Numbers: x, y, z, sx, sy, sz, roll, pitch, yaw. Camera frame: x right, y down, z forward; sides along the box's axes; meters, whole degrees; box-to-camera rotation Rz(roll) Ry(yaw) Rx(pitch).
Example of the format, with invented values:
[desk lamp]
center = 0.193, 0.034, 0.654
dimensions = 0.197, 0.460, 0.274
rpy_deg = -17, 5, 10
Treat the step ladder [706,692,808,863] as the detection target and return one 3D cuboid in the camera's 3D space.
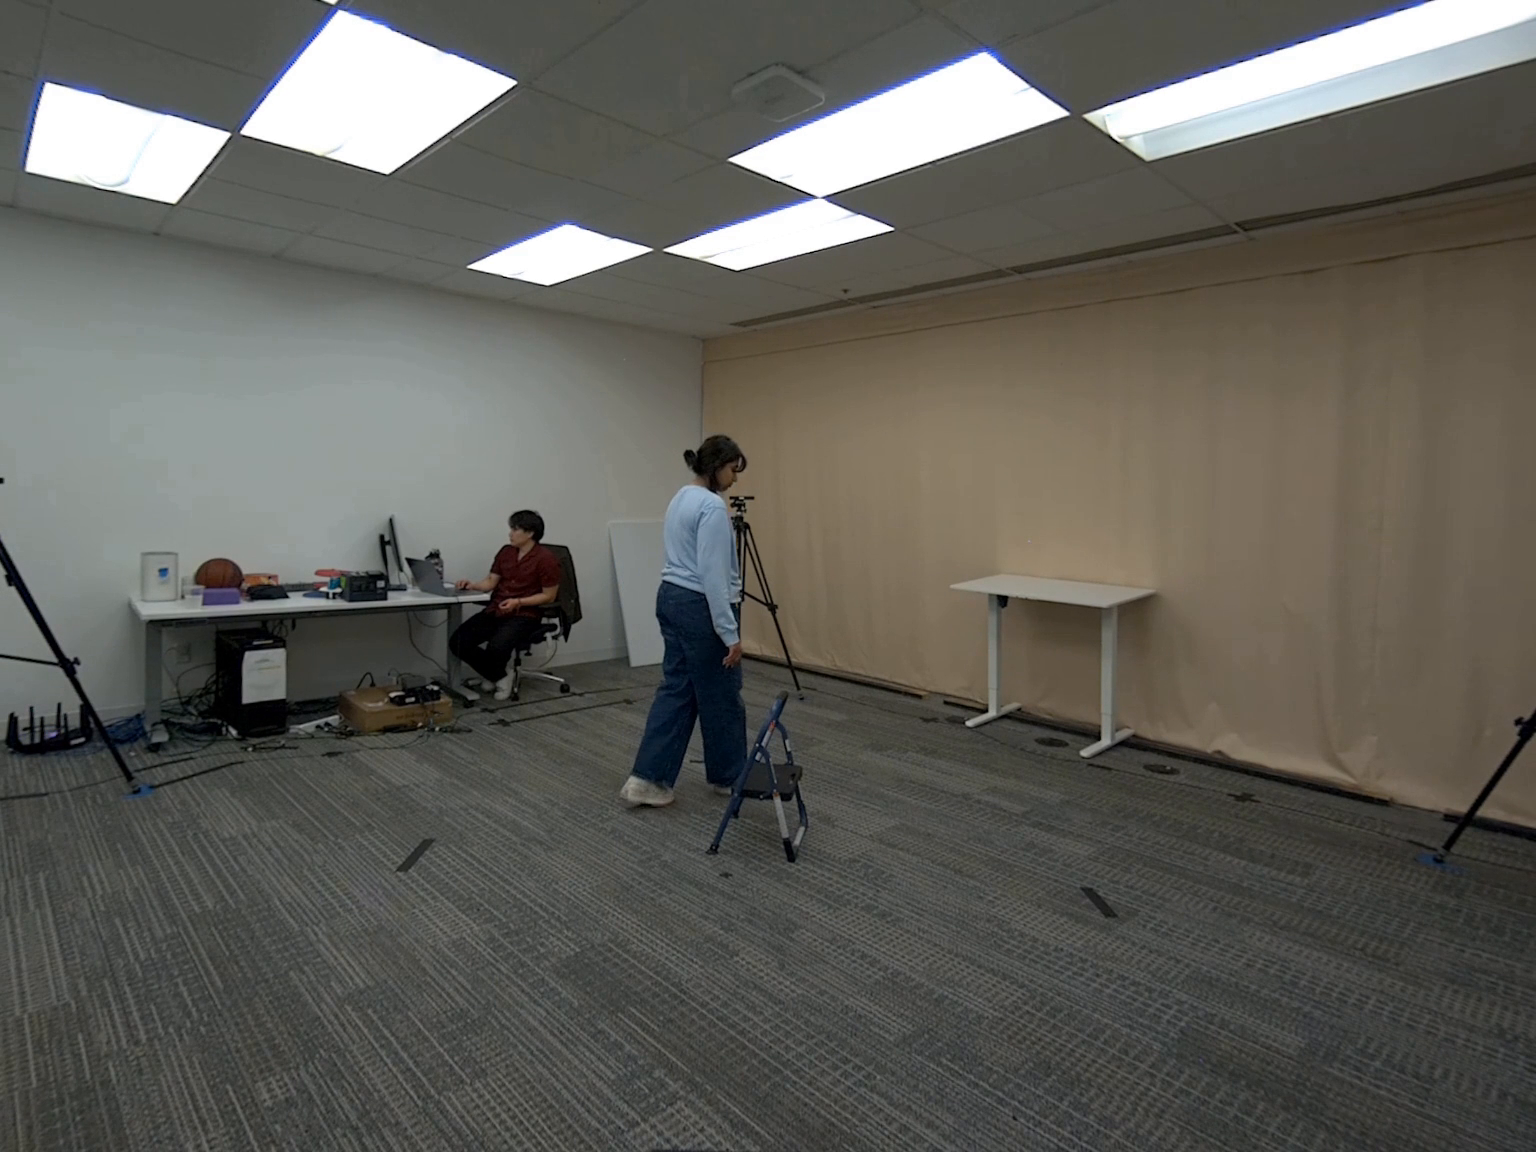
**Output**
[step ladder]
center = -0.028, 0.774, 3.439
dimensions = 0.353, 0.604, 0.427
rpy_deg = 2, 4, 11
